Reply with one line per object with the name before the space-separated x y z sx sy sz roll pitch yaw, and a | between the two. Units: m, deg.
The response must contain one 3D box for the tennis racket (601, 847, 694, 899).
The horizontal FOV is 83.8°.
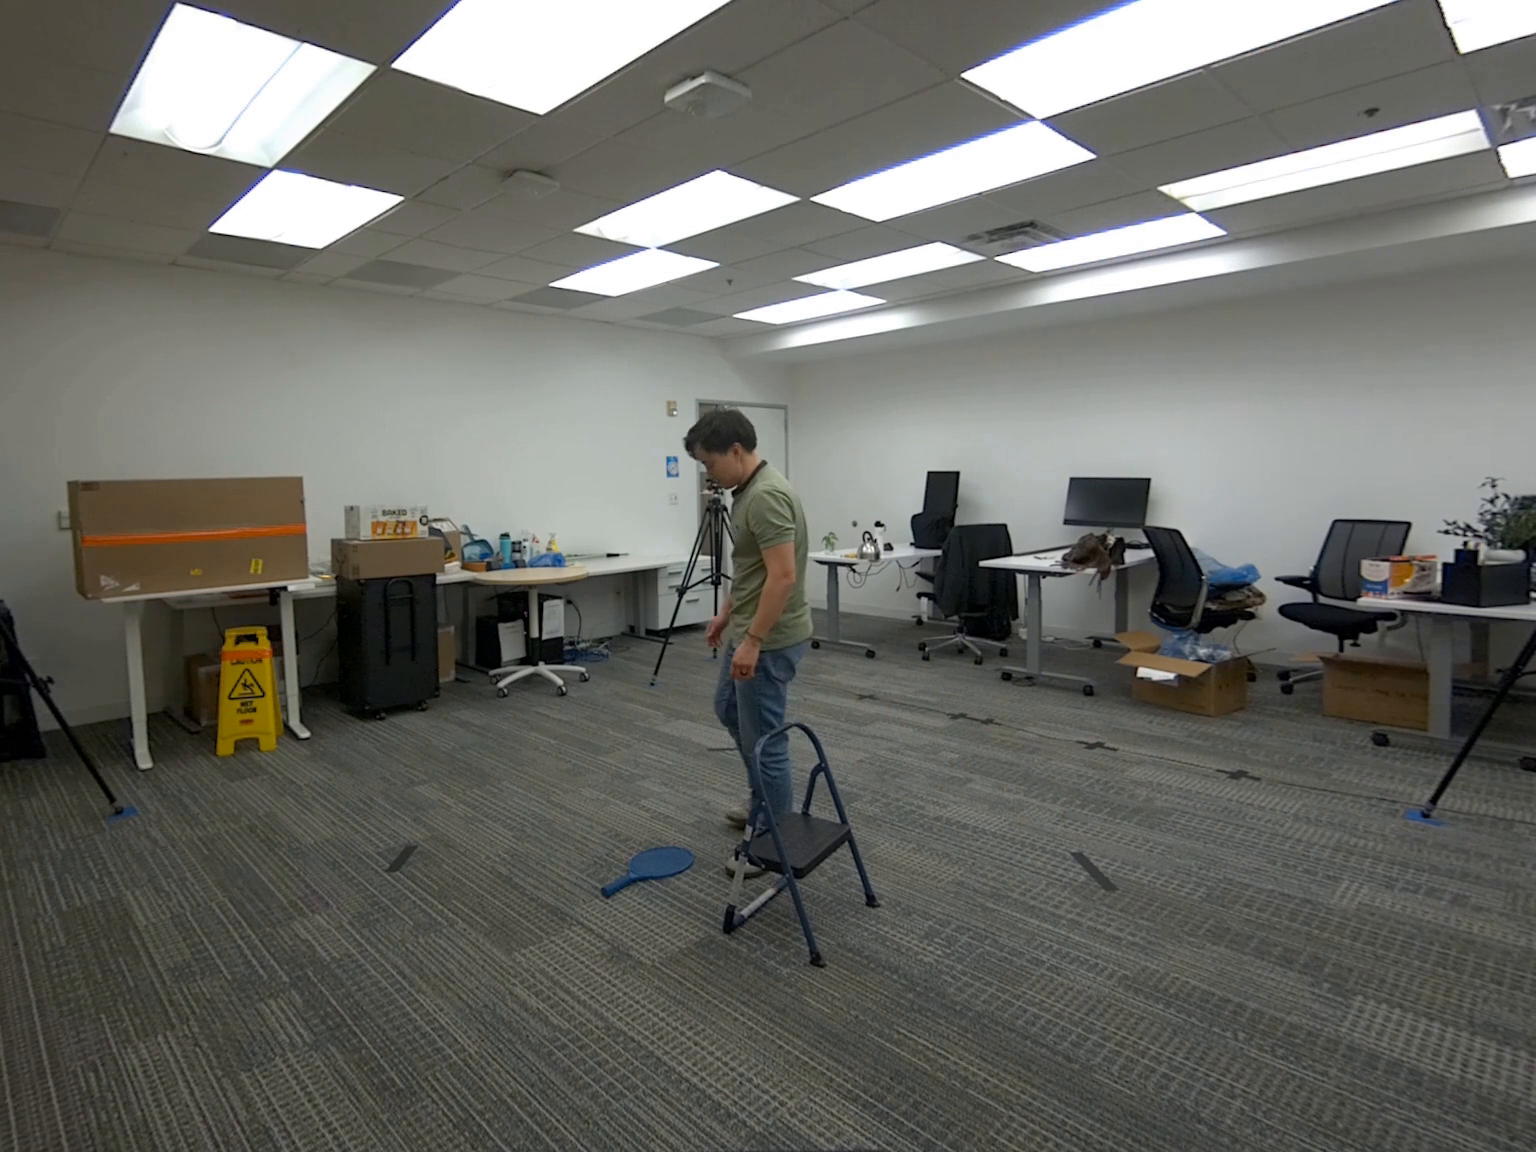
tennis racket | -0.436 1.043 3.047 0.220 0.031 0.422 3 6 36
